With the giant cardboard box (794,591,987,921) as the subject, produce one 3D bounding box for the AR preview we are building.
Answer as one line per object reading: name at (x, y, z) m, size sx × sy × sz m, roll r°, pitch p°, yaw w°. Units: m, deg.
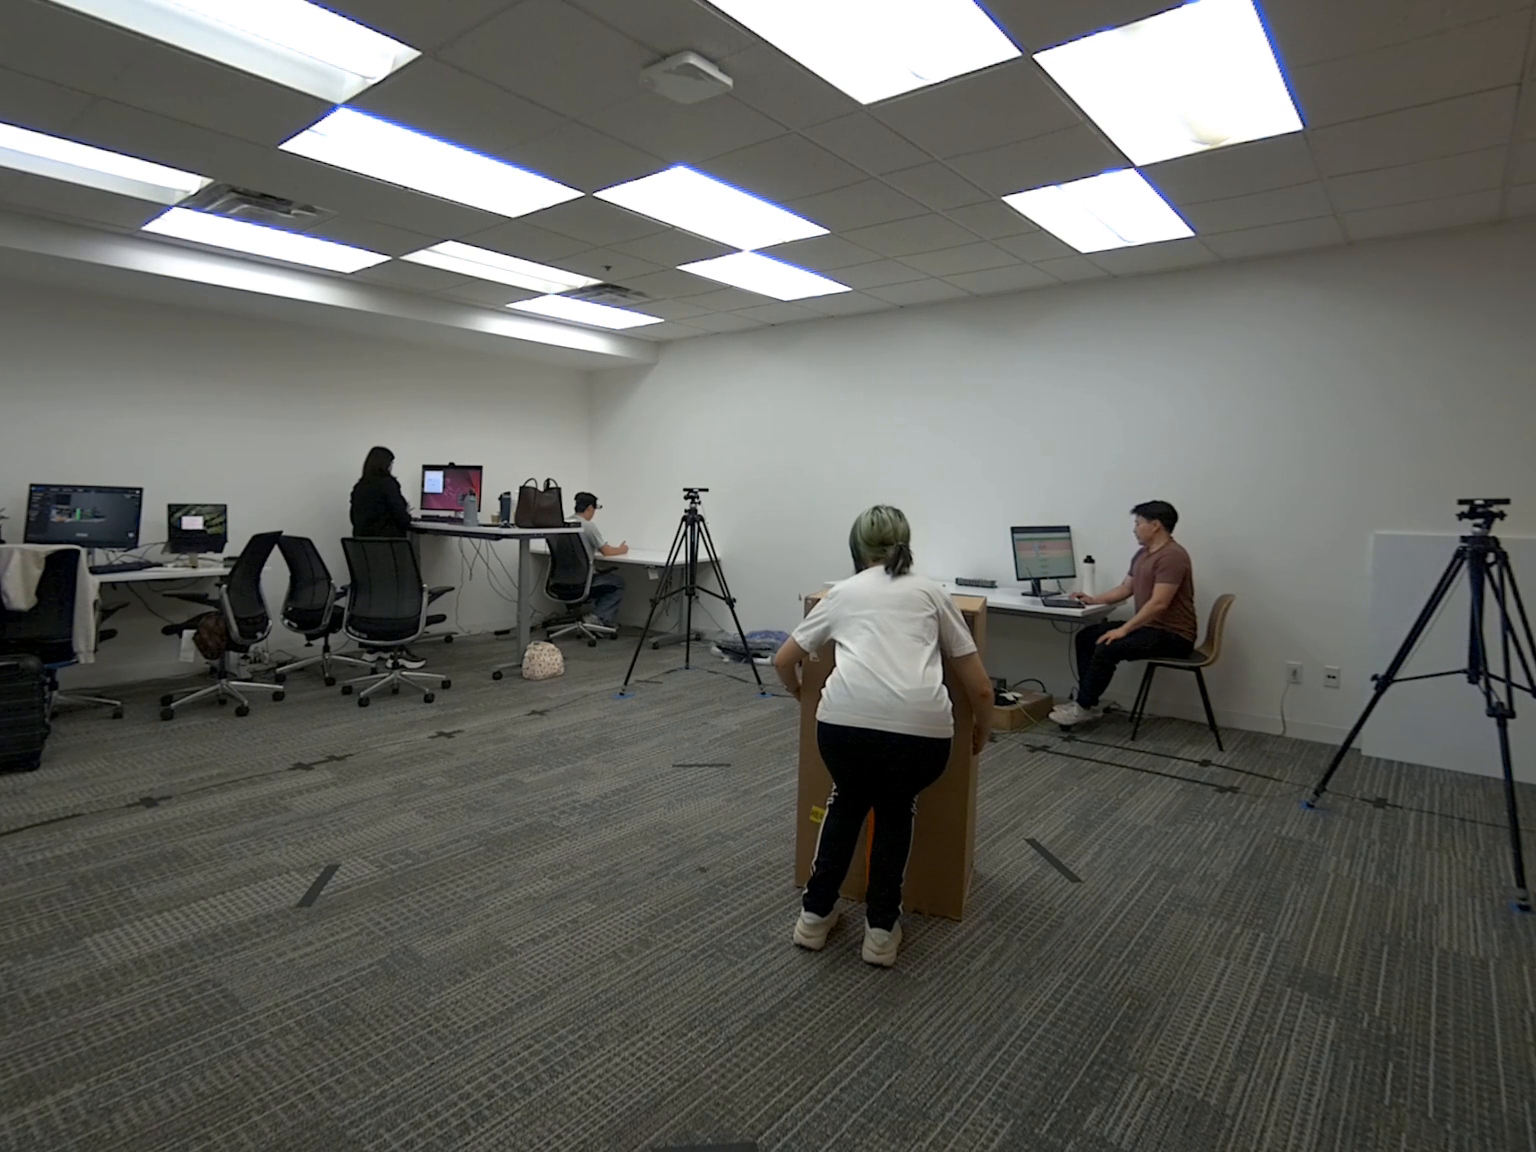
giant cardboard box at (0.437, 0.583, 3.045) m, size 0.590 × 1.023 × 0.418 m, roll 3°, pitch 3°, yaw 20°
